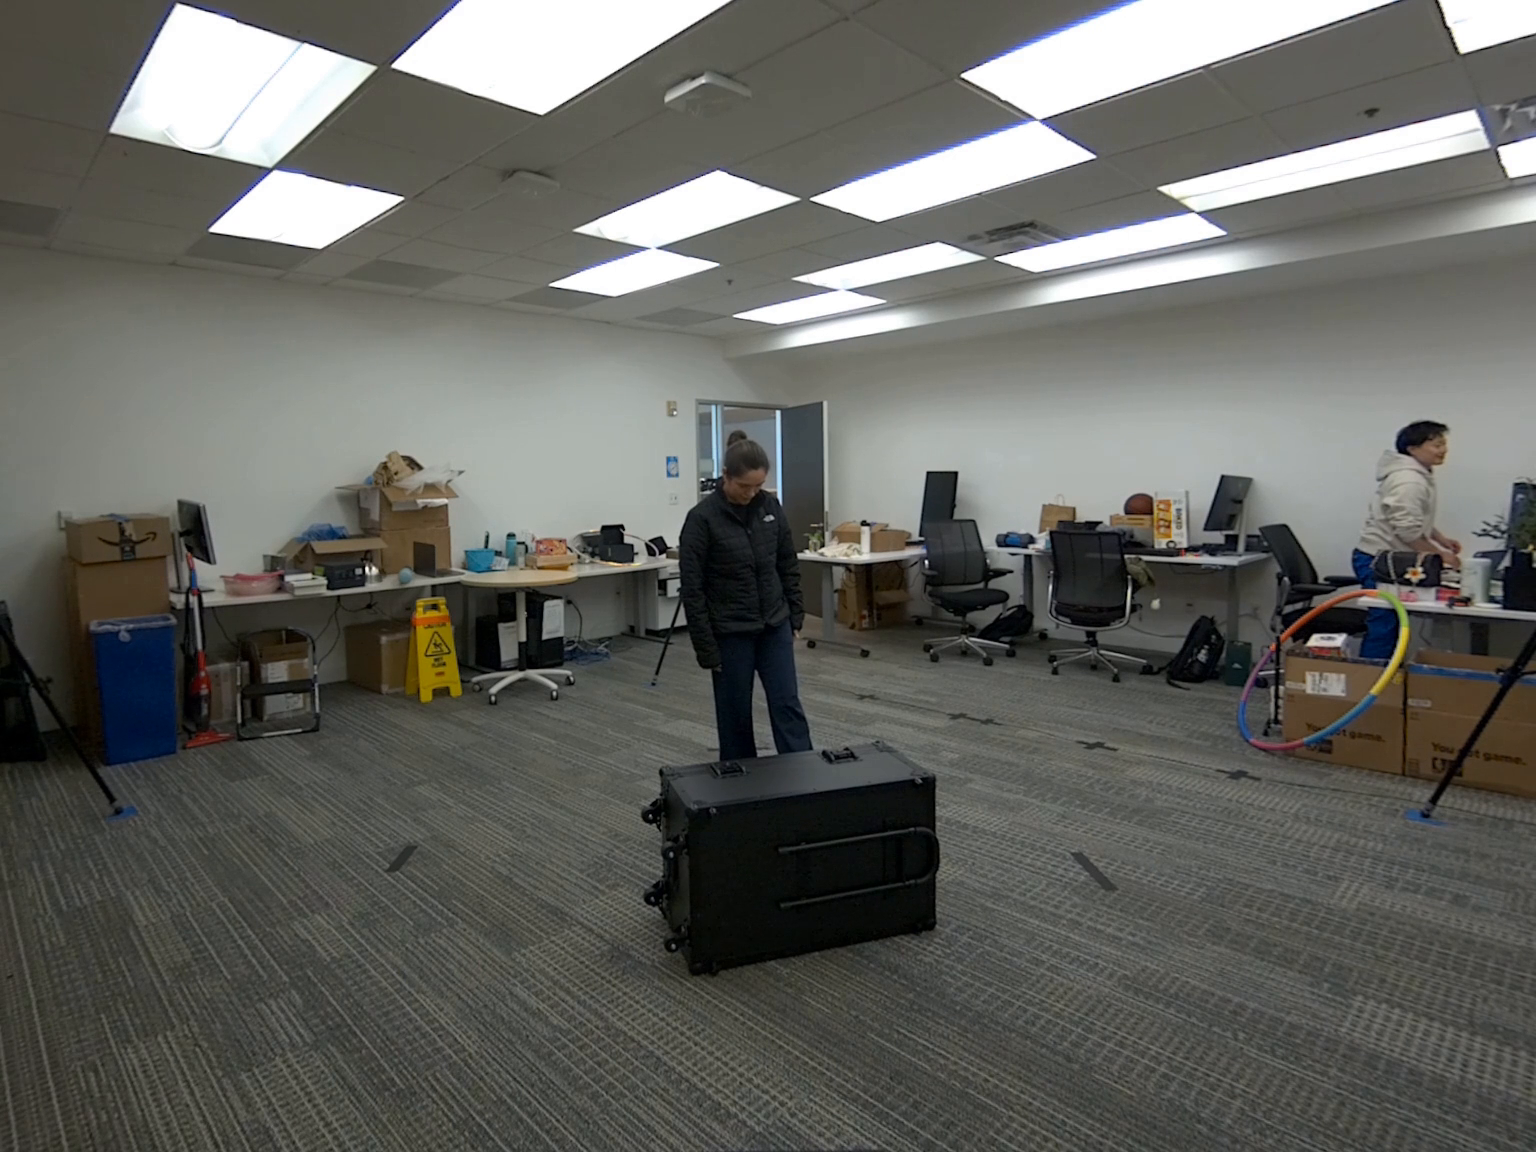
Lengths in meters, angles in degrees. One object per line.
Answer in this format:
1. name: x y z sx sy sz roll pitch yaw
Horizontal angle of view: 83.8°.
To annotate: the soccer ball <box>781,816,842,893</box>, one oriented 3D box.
1. soccer ball: 0.149 0.968 2.991 0.187 0.187 0.188 -1 5 -2
